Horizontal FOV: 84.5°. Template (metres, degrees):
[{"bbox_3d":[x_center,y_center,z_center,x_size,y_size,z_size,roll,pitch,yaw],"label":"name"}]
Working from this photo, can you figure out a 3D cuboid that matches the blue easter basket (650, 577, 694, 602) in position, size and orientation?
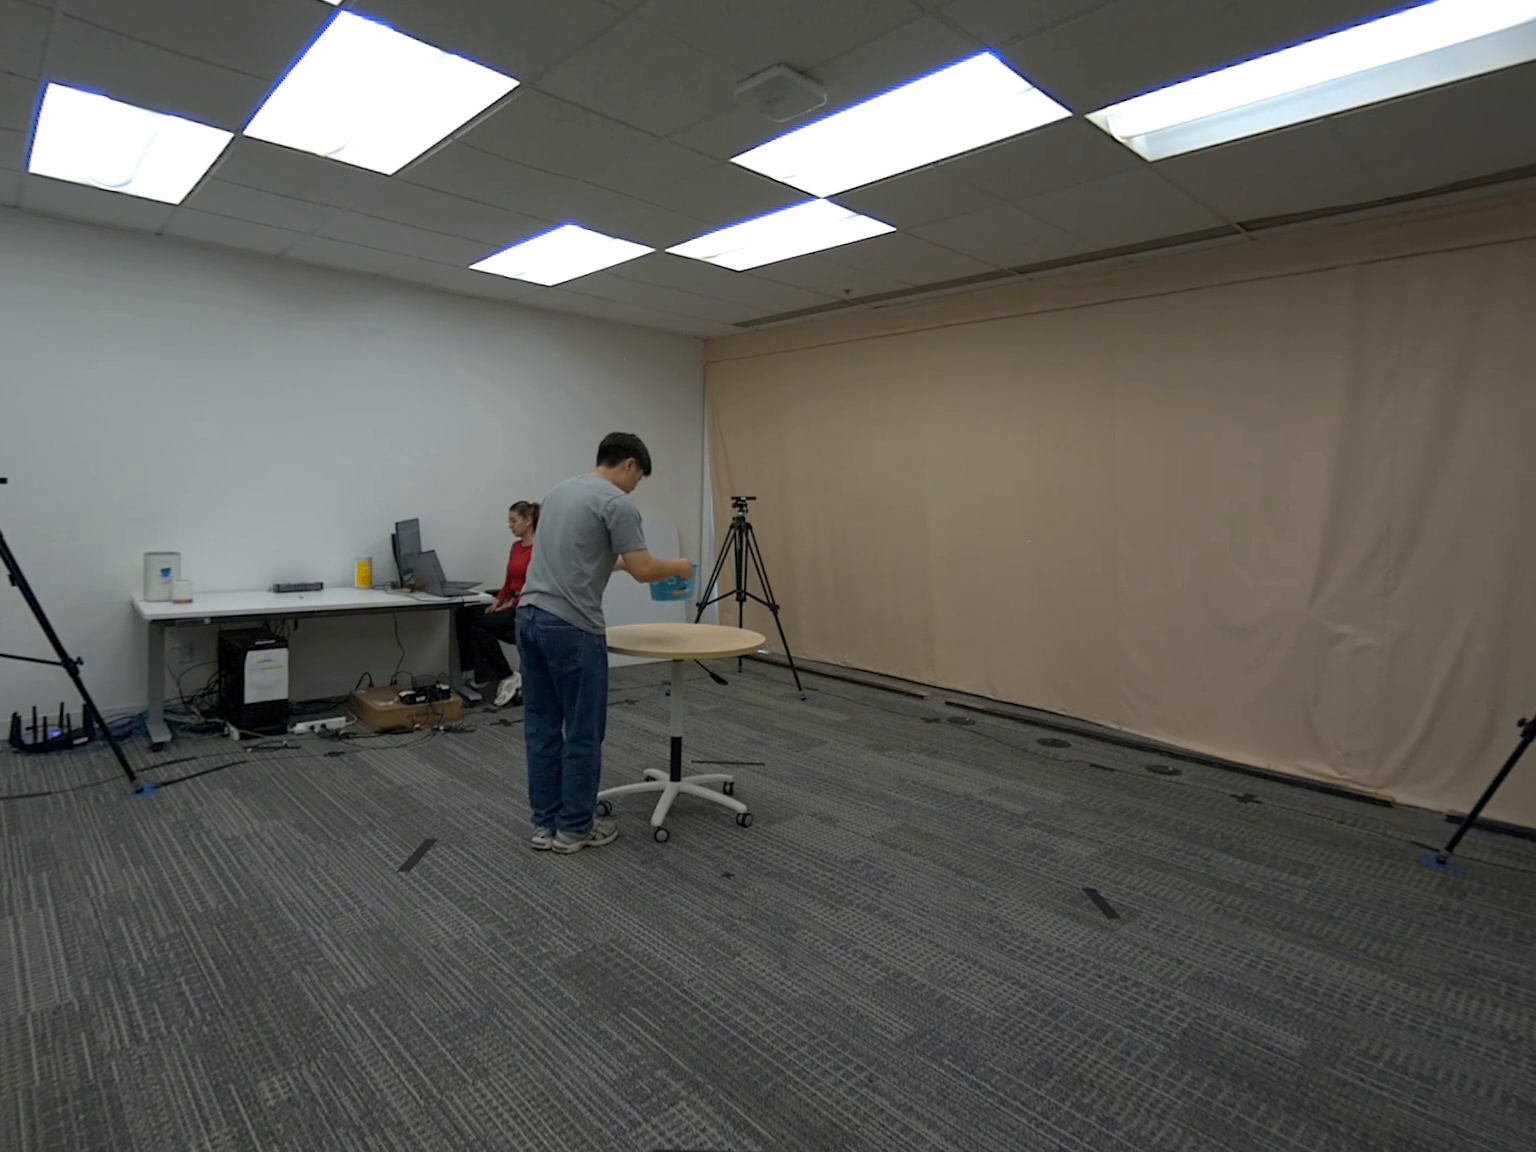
[{"bbox_3d":[-0.440,0.022,3.661,0.243,0.156,0.244,-3,2,-1],"label":"blue easter basket"}]
